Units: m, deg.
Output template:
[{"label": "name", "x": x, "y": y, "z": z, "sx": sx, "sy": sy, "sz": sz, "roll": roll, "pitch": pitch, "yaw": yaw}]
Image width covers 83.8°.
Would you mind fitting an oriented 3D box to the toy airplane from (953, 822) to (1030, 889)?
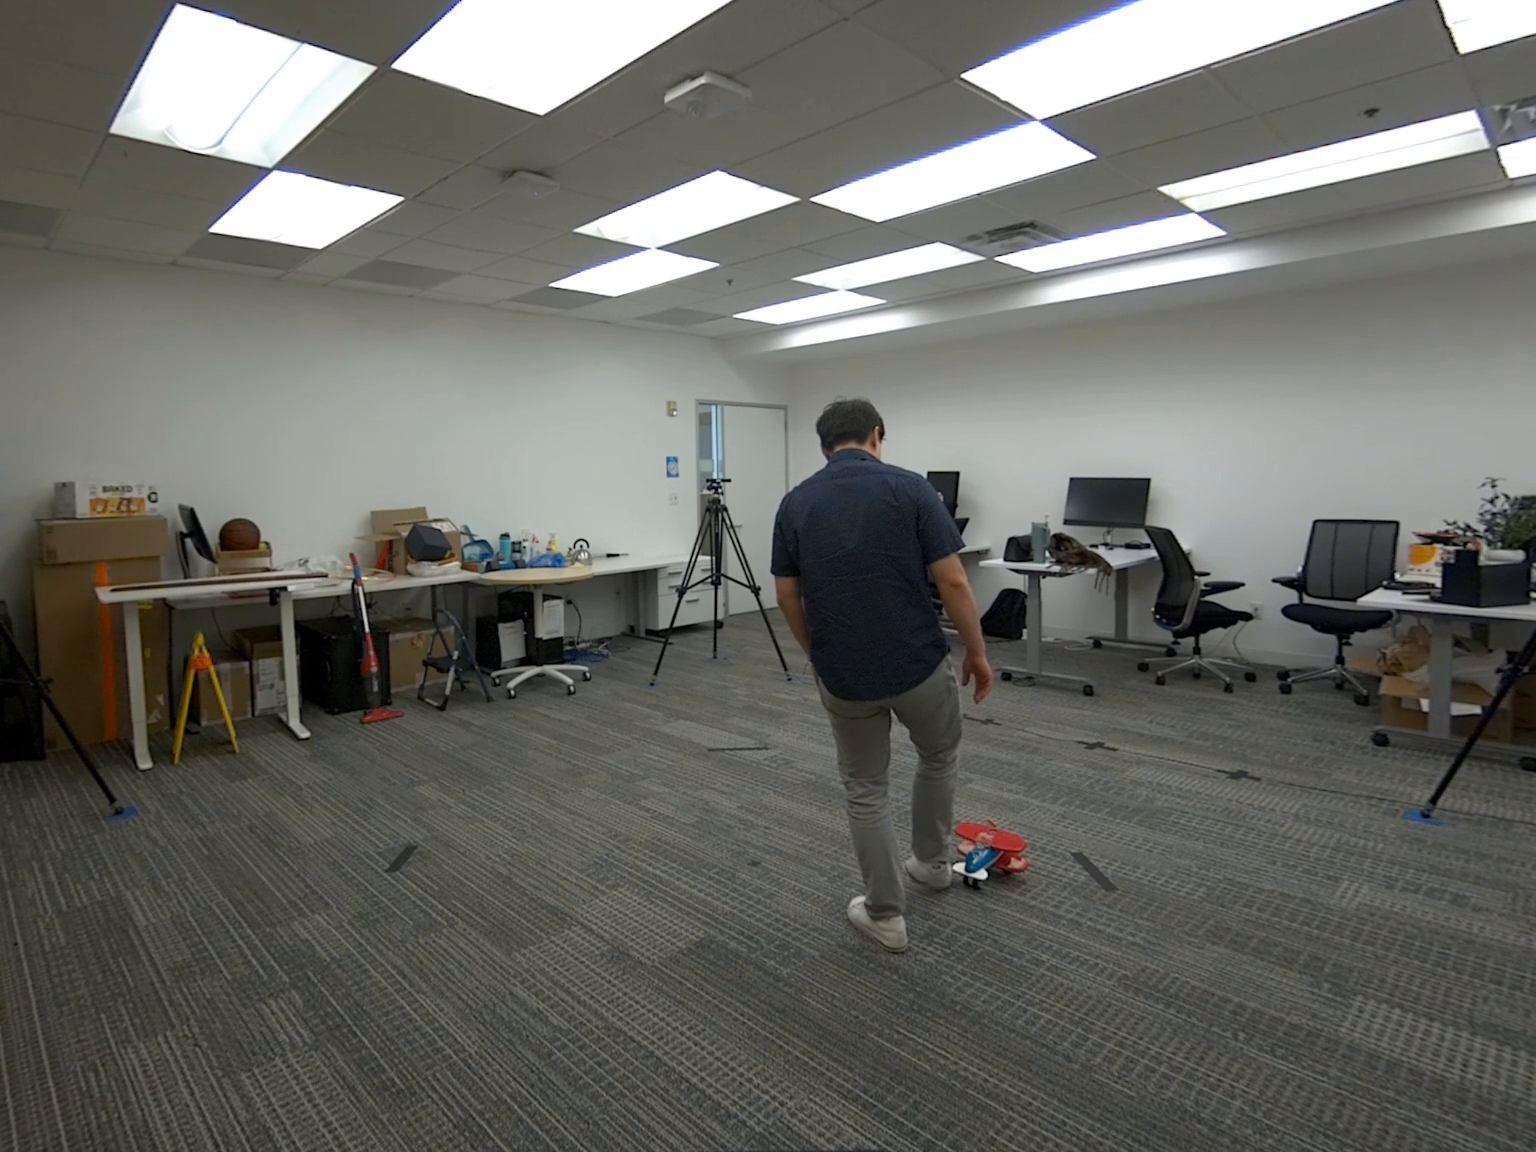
[{"label": "toy airplane", "x": 0.777, "y": 0.972, "z": 2.950, "sx": 0.255, "sy": 0.156, "sz": 0.256, "roll": 1, "pitch": 5, "yaw": 15}]
